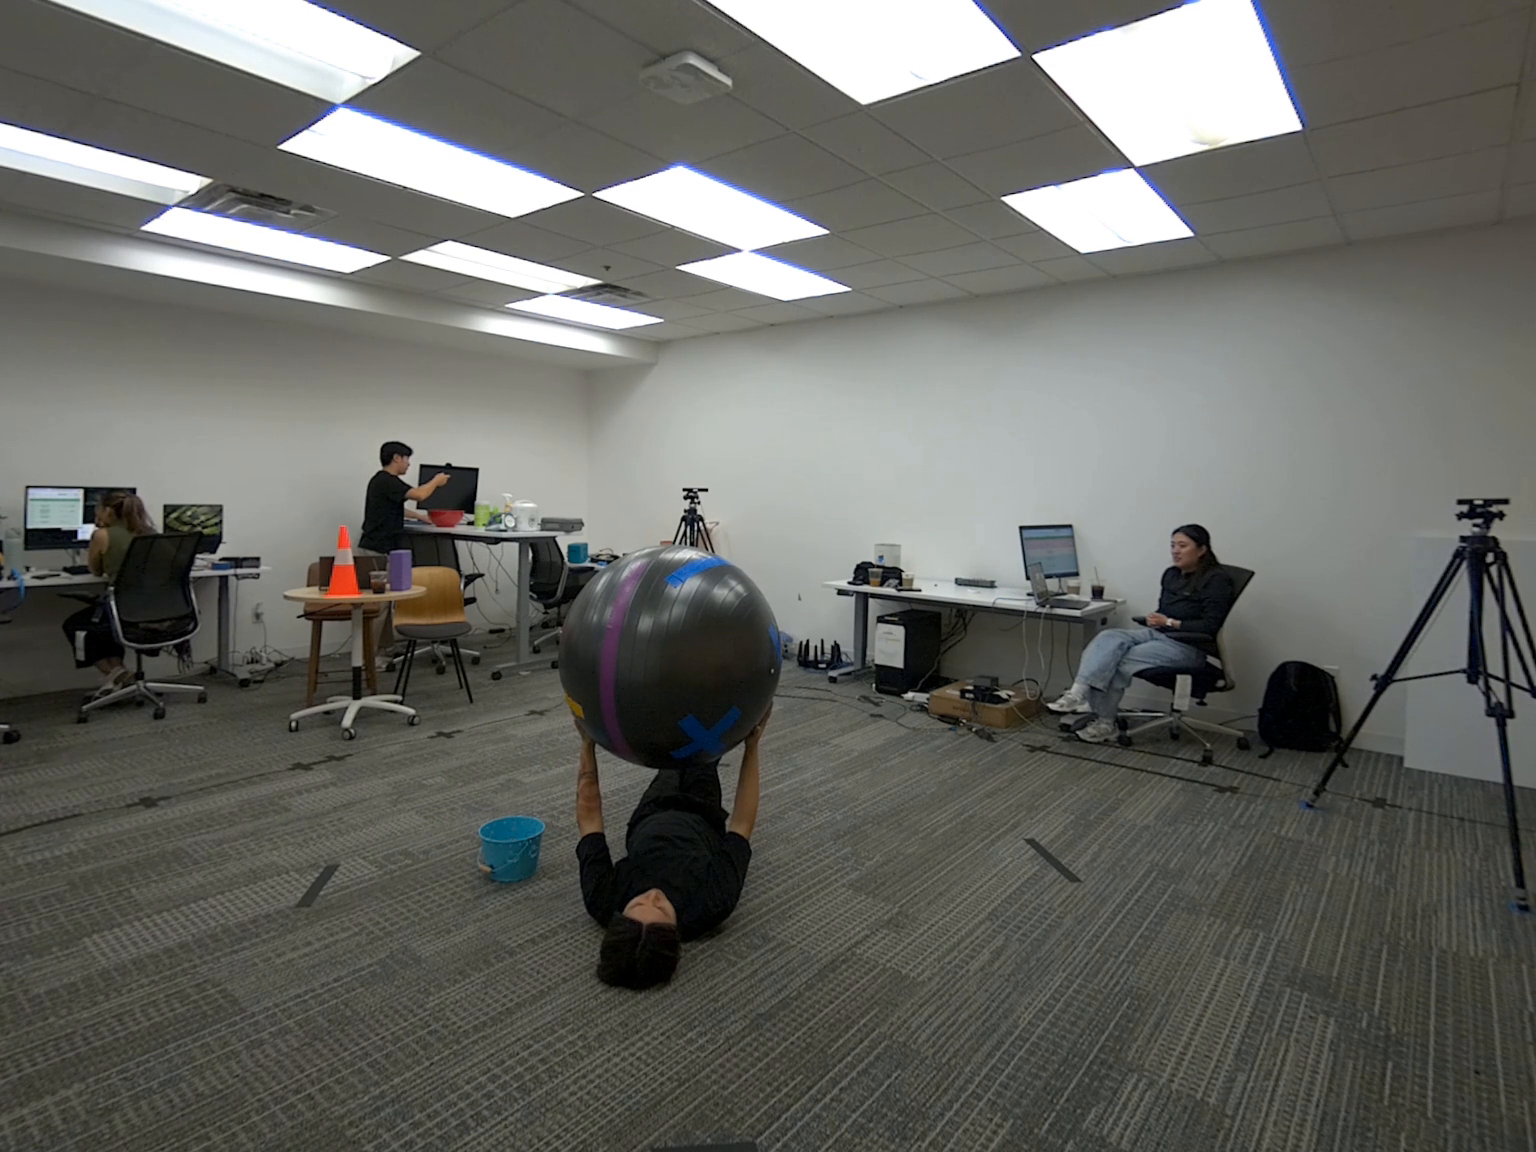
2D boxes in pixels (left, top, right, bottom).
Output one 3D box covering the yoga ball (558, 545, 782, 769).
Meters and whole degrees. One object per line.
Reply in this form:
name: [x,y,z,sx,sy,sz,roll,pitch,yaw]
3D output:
yoga ball: [-0.342,0.278,2.916,0.757,0.755,0.762,1,4,-2]
